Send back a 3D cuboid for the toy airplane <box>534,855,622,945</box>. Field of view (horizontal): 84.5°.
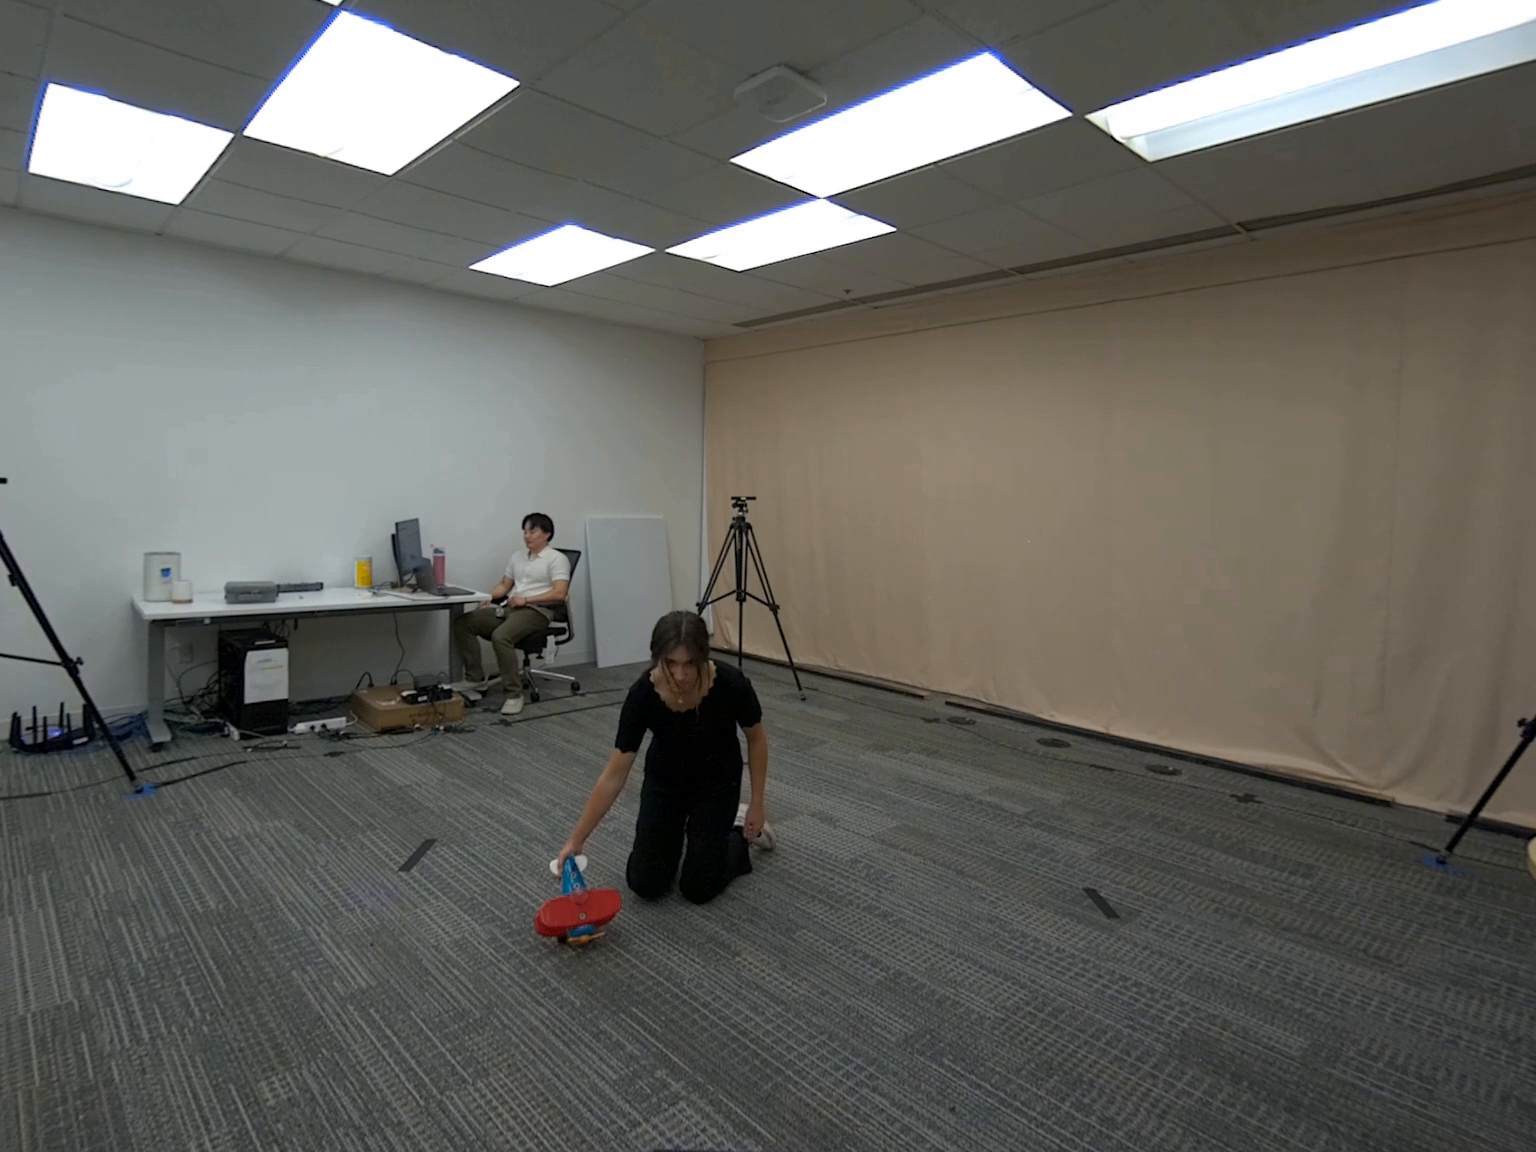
[{"bbox_3d":[-0.629,1.021,2.618,0.249,0.261,0.156,-34,-6,-36],"label":"toy airplane"}]
